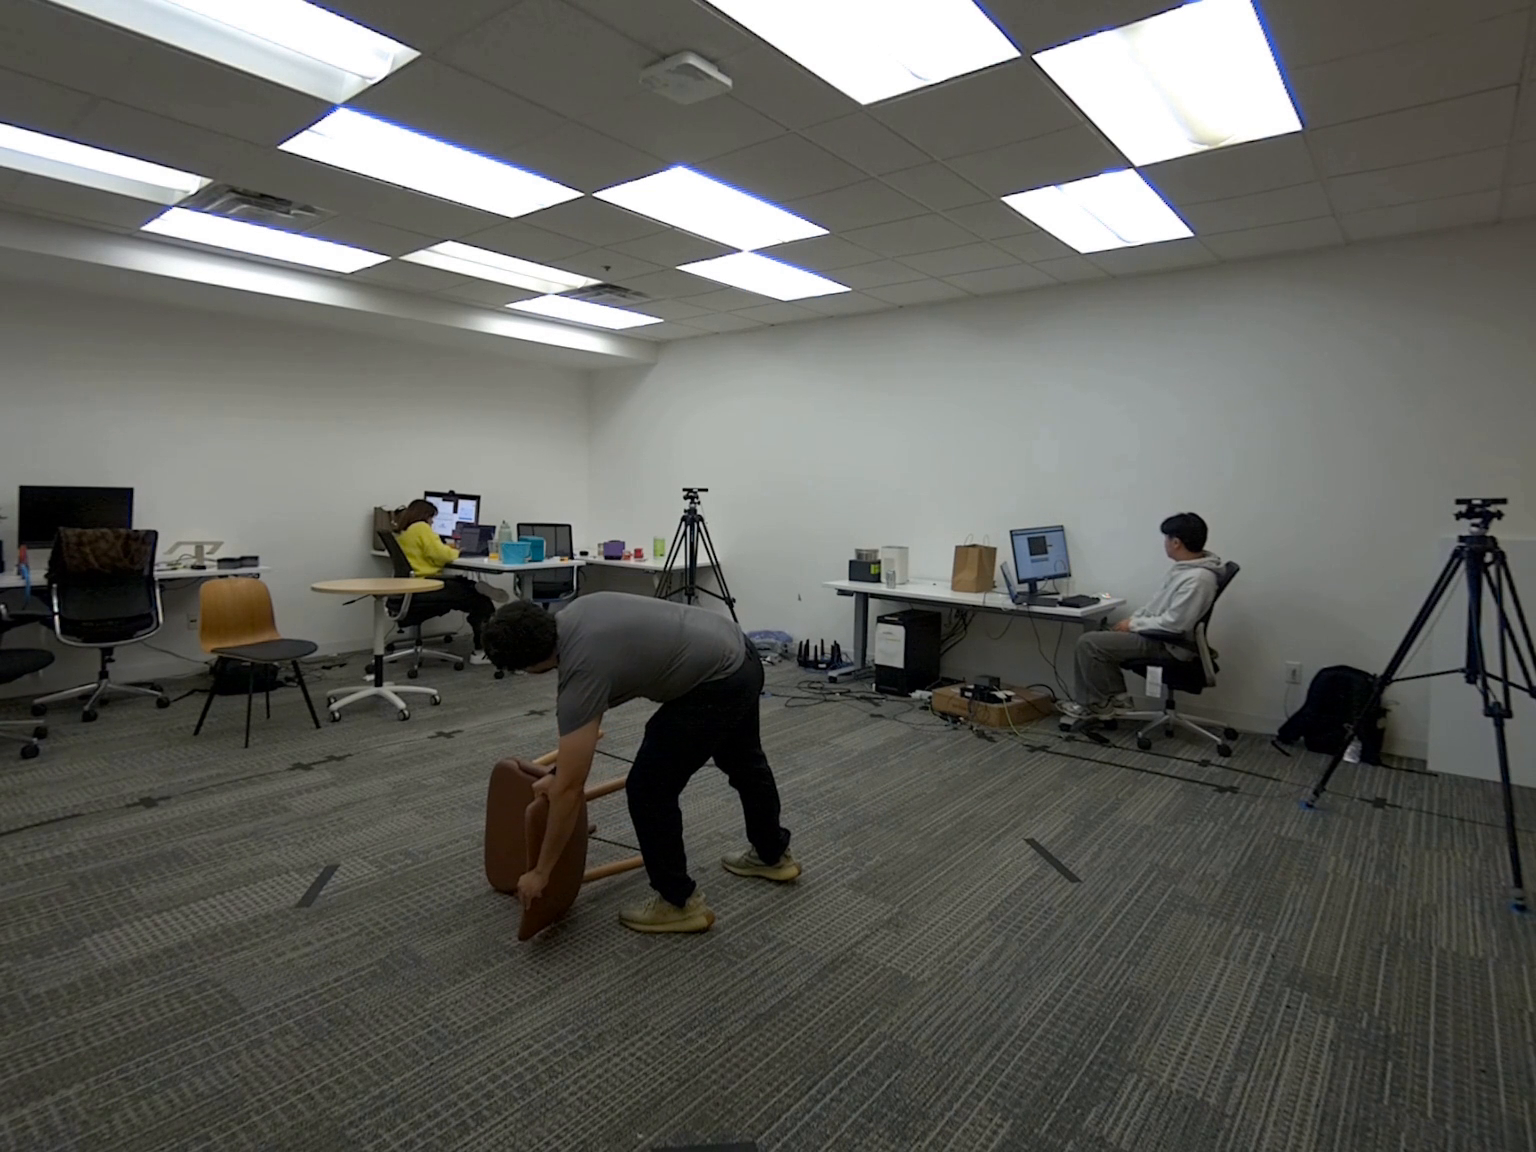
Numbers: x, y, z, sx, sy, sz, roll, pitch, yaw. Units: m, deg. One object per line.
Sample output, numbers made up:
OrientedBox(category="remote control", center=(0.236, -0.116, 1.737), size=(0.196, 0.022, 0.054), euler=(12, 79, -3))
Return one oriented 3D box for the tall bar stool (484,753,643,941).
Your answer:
OrientedBox(category="tall bar stool", center=(-0.715, 0.862, 2.965), size=(0.481, 0.455, 0.867), euler=(5, 4, 26))
